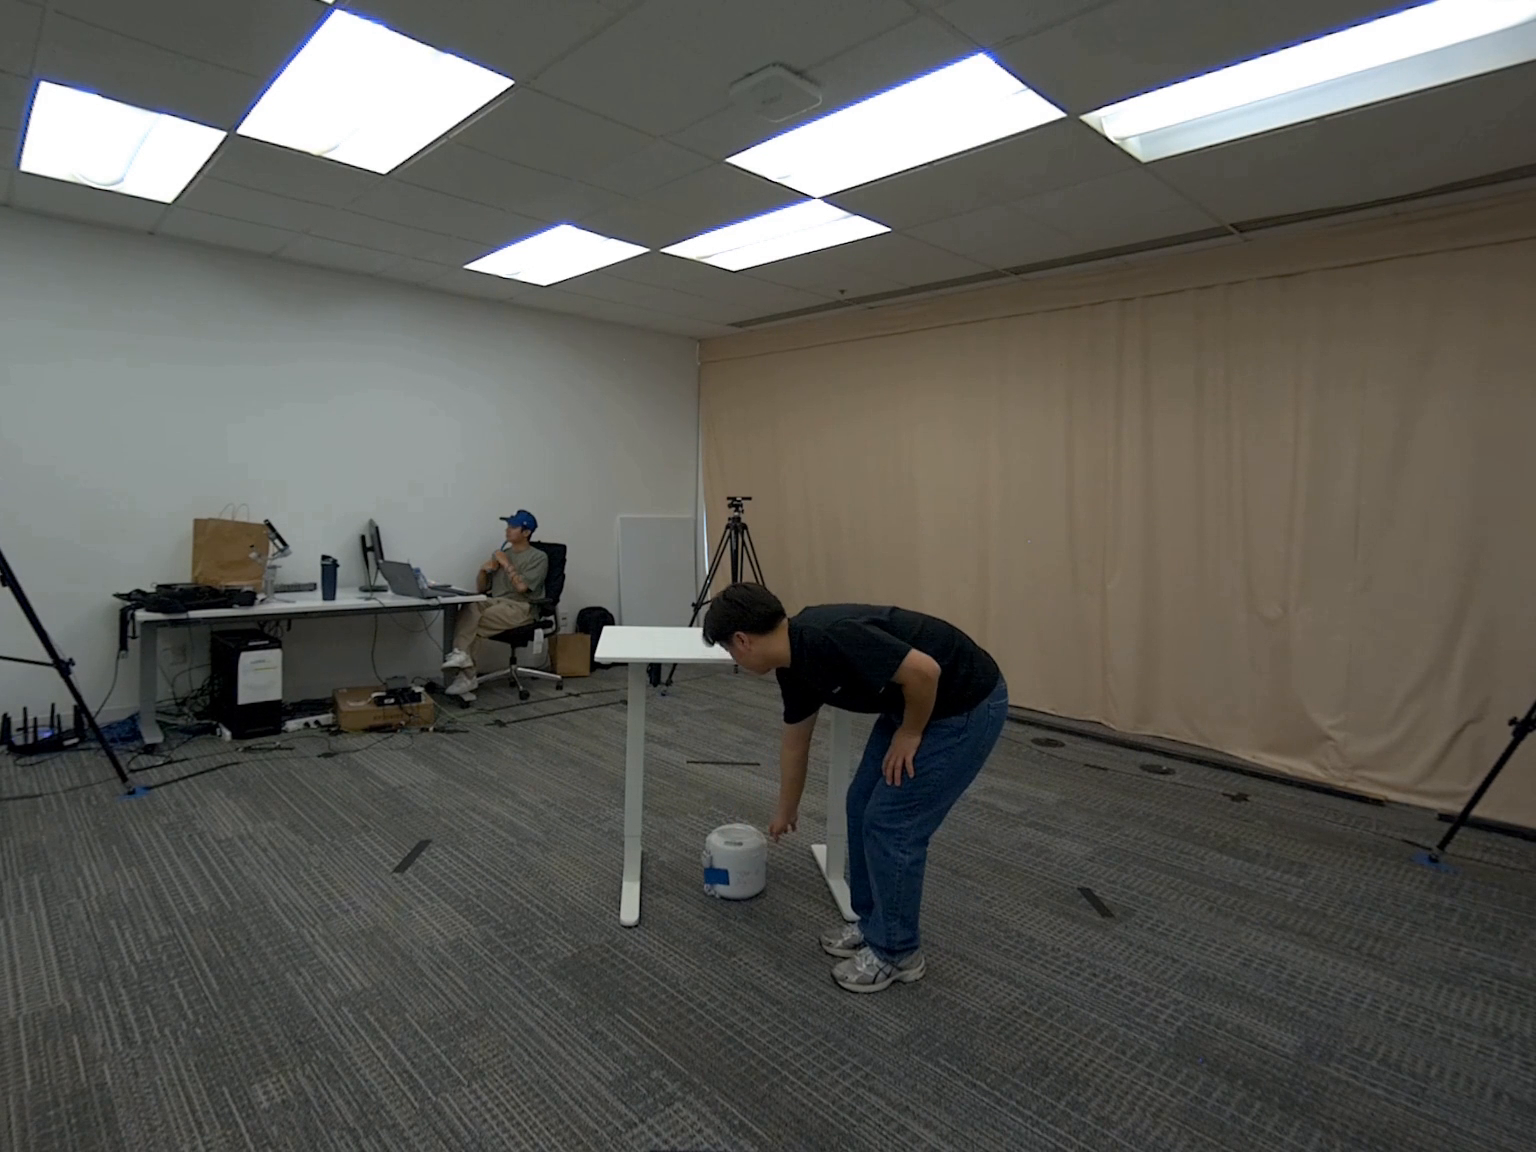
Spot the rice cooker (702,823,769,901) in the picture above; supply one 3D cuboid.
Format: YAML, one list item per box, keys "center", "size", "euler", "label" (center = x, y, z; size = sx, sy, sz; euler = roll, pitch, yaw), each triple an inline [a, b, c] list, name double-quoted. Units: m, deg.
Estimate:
- center: [-0.117, 1.001, 2.991]
  size: [0.223, 0.232, 0.216]
  euler: [2, 5, 12]
  label: "rice cooker"
